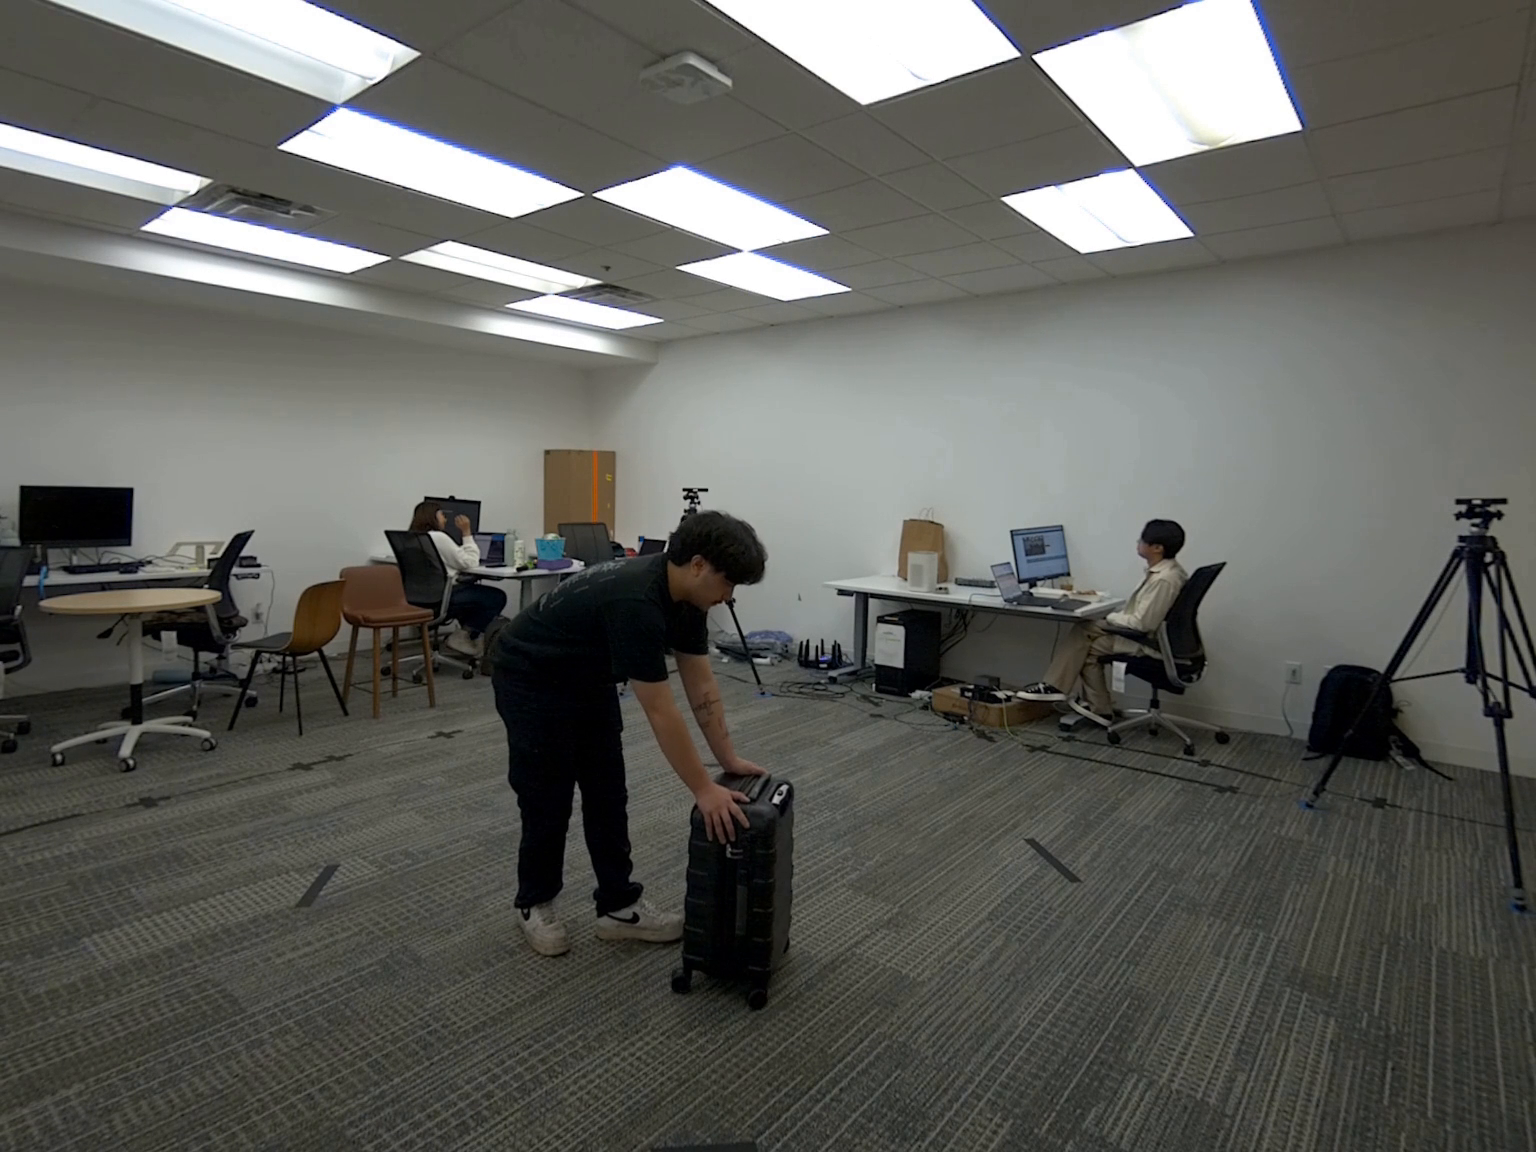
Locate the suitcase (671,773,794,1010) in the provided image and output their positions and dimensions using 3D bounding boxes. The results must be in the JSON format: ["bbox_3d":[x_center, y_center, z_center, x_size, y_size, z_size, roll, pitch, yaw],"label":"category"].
[{"bbox_3d":[-0.083,0.862,2.447,0.253,0.548,0.370,4,4,14],"label":"suitcase"}]
